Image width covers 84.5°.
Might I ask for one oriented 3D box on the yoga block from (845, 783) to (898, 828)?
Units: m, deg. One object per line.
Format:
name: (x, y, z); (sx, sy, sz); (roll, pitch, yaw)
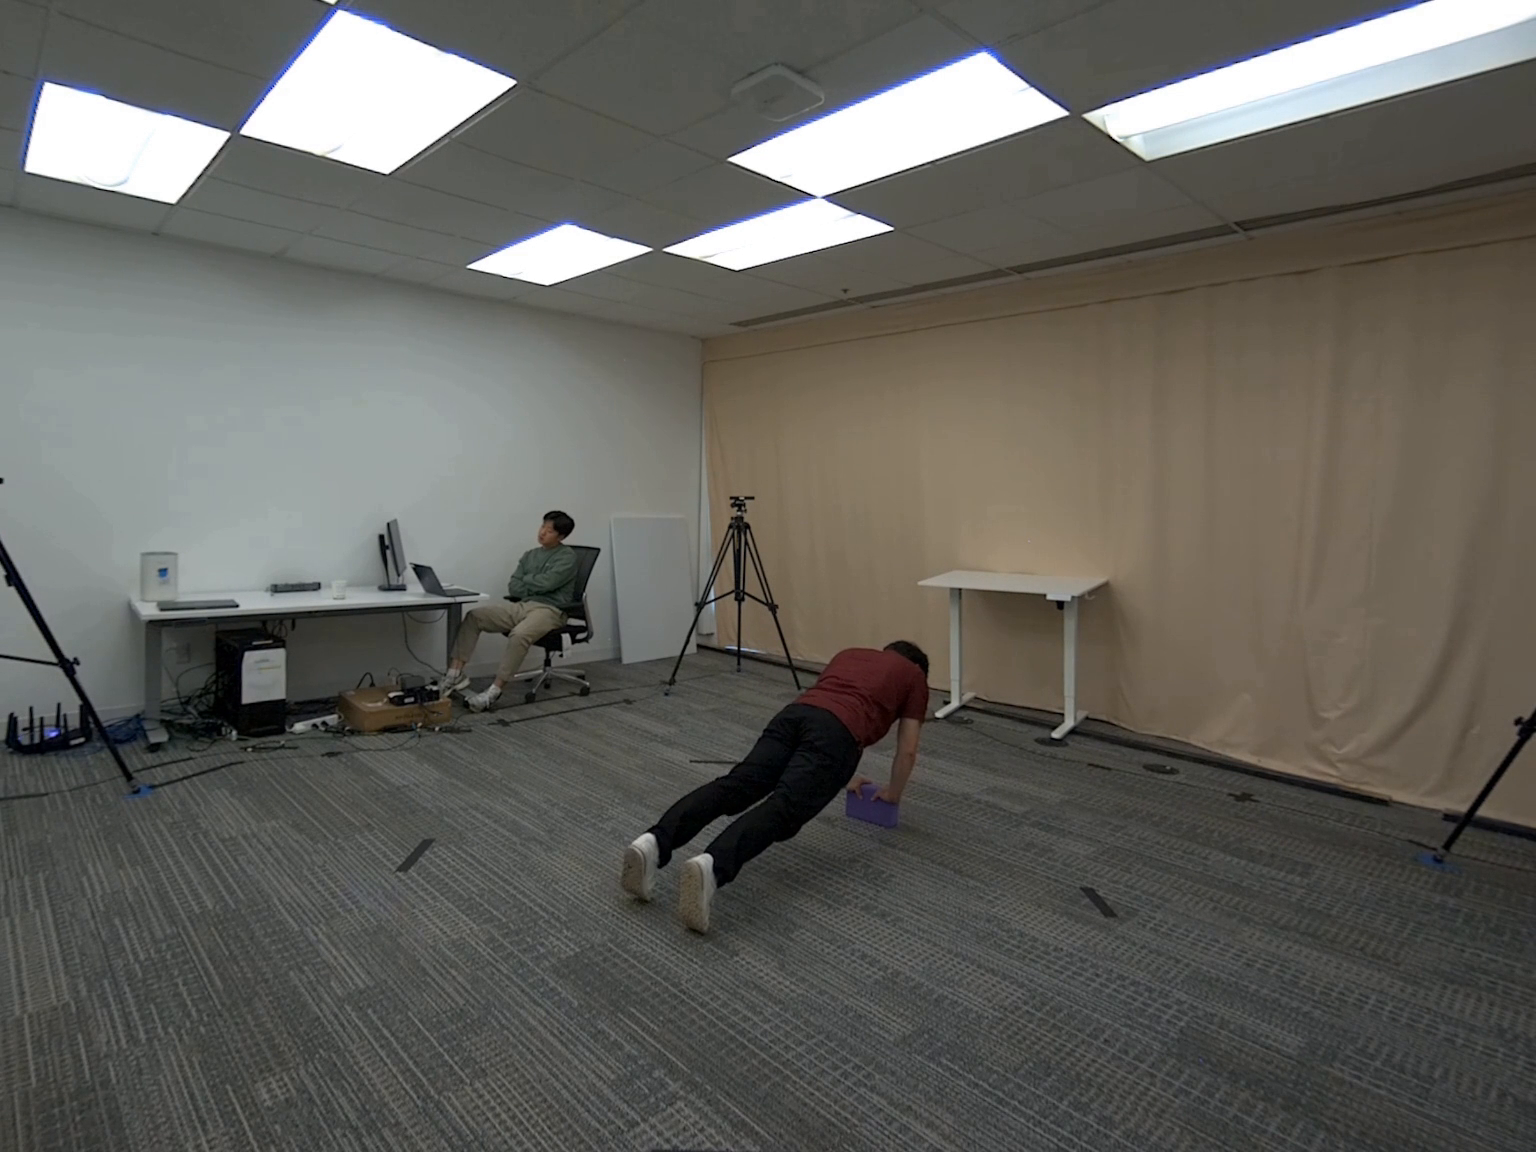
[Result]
yoga block: (0.443, 0.997, 3.693); (0.235, 0.149, 0.074); (5, 1, 39)
